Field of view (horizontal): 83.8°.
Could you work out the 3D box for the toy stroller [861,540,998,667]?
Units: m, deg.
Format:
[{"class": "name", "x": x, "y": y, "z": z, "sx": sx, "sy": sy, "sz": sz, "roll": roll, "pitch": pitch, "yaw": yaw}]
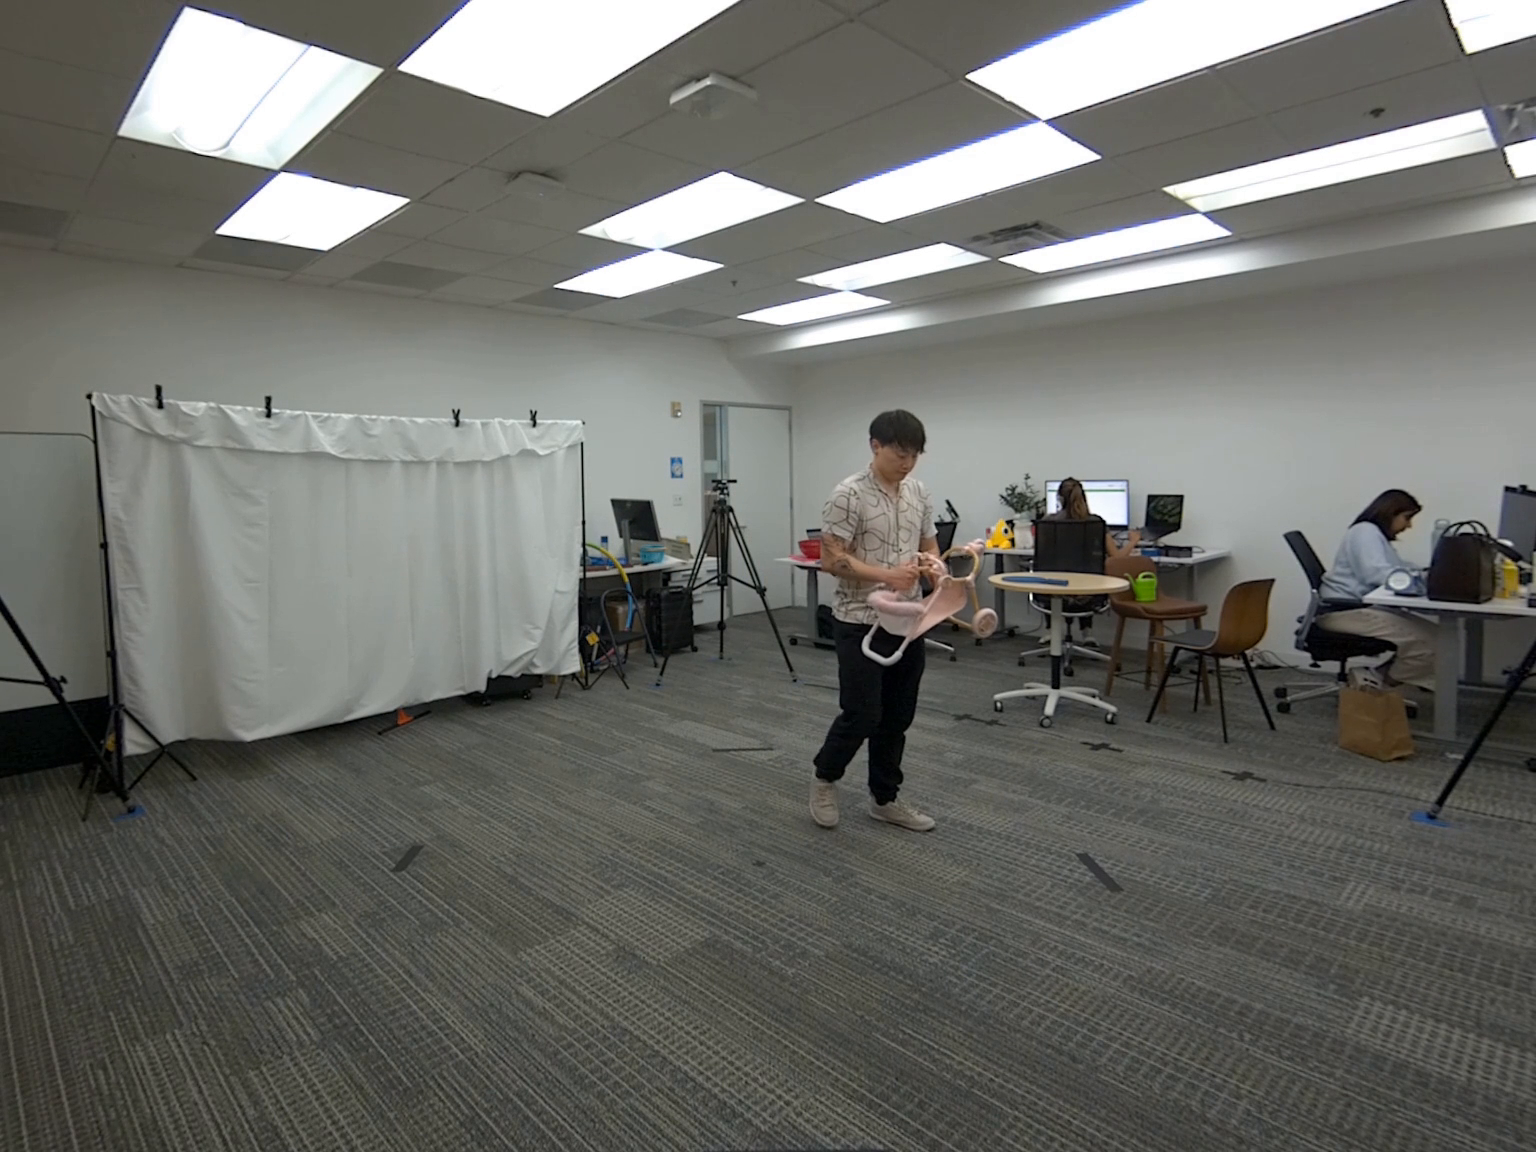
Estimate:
[{"class": "toy stroller", "x": 0.594, "y": 0.081, "z": 3.105, "sx": 0.527, "sy": 0.335, "sz": 0.291, "roll": -16, "pitch": 22, "yaw": -22}]
